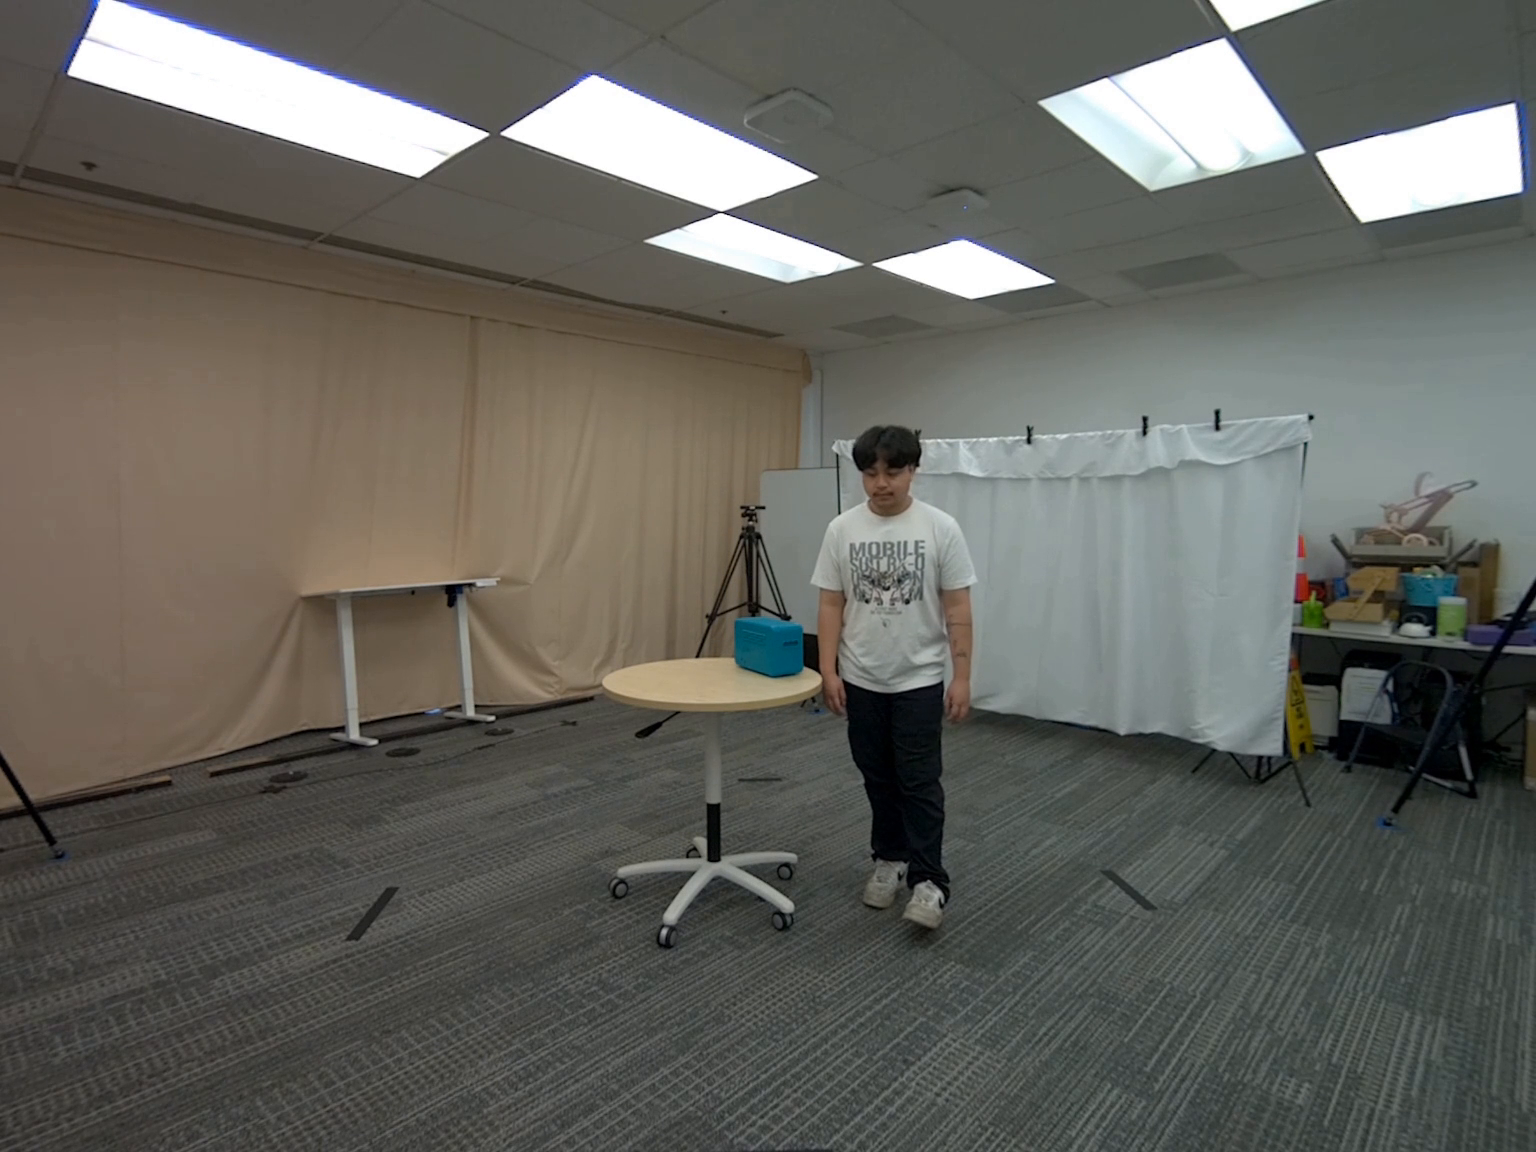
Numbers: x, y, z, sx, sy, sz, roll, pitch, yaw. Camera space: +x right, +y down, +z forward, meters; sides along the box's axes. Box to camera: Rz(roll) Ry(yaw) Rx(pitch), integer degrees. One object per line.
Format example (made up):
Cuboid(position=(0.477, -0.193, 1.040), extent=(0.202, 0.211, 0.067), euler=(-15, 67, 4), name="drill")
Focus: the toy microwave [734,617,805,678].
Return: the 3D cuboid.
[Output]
Cuboid(position=(0.006, 0.252, 3.065), extent=(0.148, 0.184, 0.294), euler=(-3, 5, -30), name="toy microwave")
